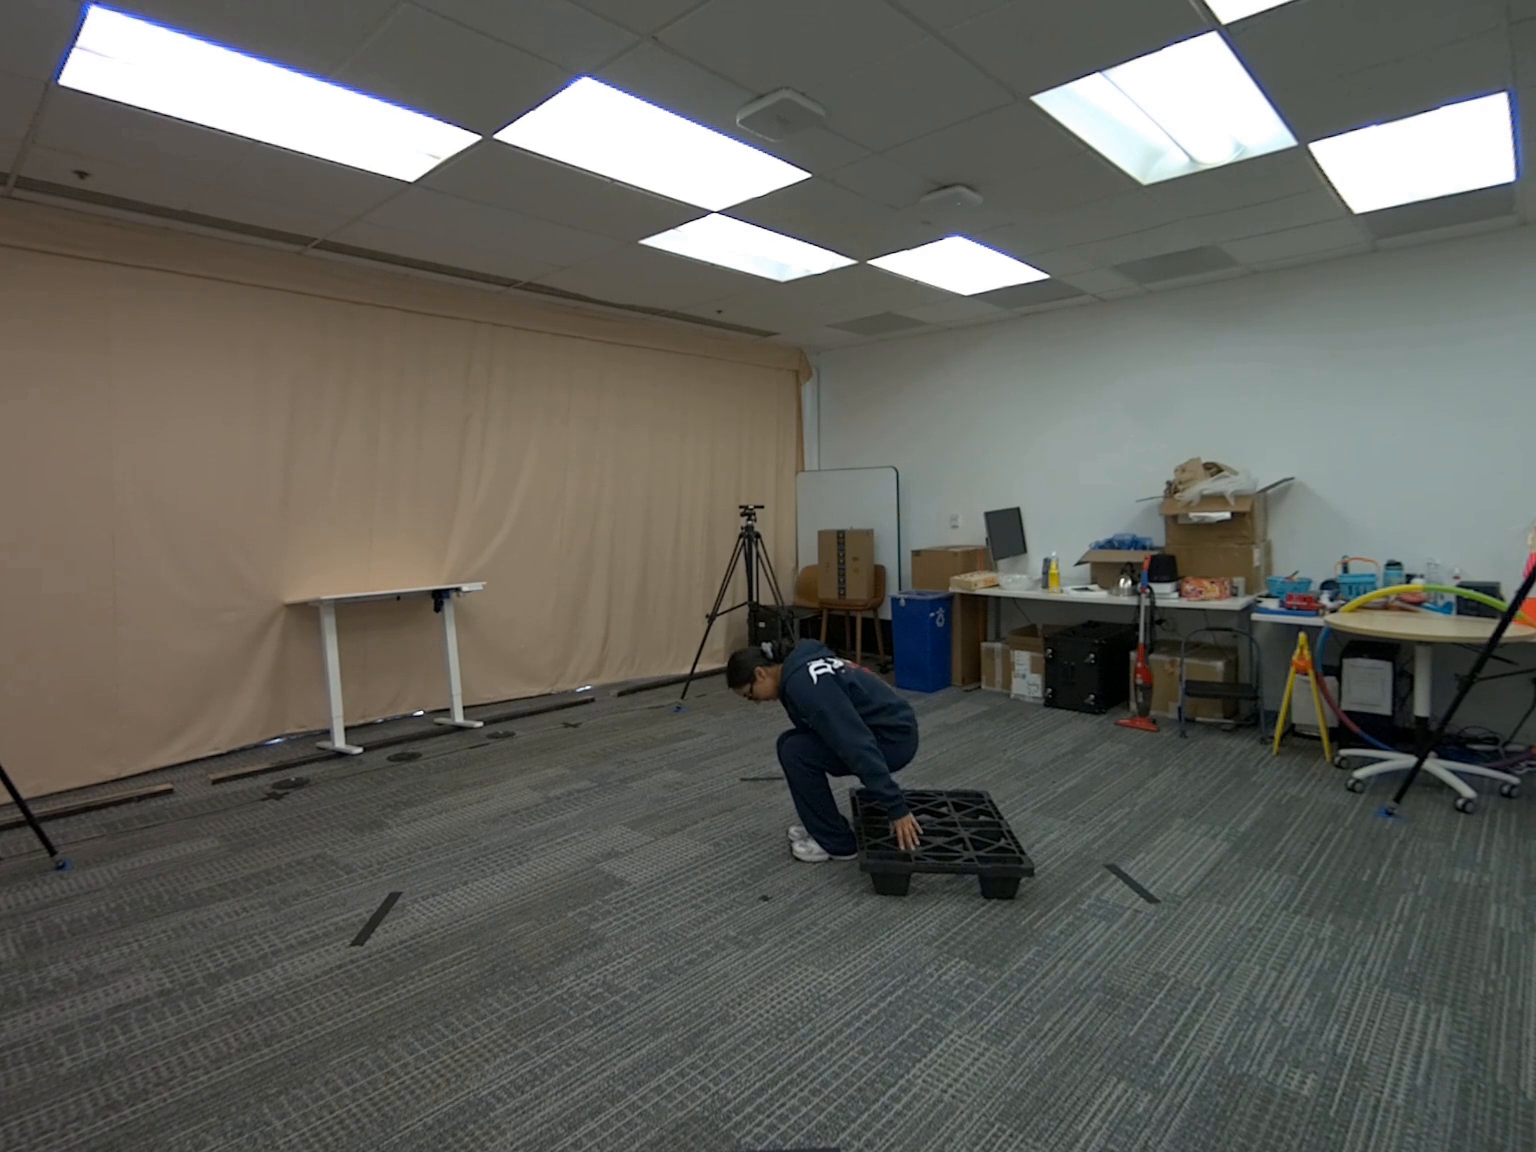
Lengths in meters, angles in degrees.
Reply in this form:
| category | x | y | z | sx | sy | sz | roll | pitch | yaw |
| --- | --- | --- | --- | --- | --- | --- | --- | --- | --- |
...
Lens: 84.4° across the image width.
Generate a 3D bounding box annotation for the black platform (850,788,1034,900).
| category | x | y | z | sx | sy | sz | roll | pitch | yaw |
| --- | --- | --- | --- | --- | --- | --- | --- | --- | --- |
| black platform | 0.650 | 1.033 | 3.314 | 0.609 | 0.143 | 0.803 | 1 | 5 | 4 |
